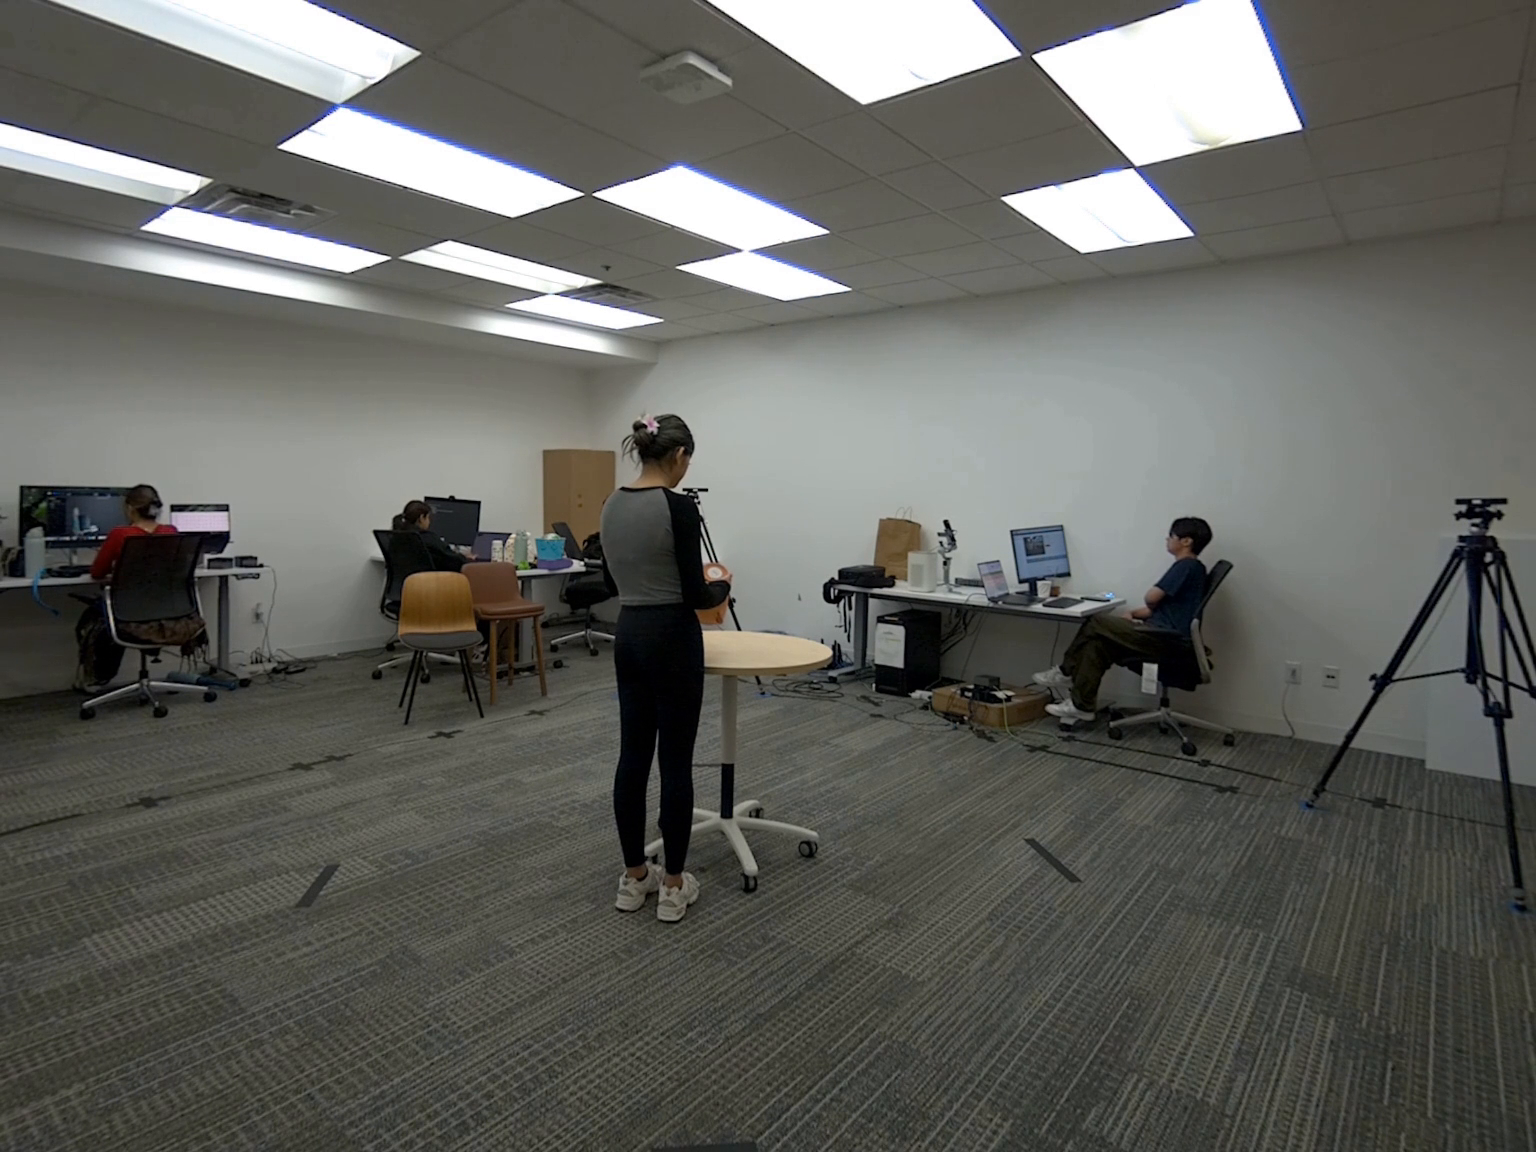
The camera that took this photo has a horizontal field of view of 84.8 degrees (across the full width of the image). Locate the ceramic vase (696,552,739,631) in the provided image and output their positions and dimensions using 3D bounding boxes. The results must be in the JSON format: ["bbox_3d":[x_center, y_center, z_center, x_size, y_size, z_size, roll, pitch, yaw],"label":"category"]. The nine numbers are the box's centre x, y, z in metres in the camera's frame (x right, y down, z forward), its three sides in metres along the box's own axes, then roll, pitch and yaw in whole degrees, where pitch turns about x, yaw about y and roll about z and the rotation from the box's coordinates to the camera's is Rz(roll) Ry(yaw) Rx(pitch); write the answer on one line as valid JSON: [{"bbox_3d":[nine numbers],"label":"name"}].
[{"bbox_3d":[-0.219,0.055,3.099,0.161,0.214,0.136,22,49,11],"label":"ceramic vase"}]
